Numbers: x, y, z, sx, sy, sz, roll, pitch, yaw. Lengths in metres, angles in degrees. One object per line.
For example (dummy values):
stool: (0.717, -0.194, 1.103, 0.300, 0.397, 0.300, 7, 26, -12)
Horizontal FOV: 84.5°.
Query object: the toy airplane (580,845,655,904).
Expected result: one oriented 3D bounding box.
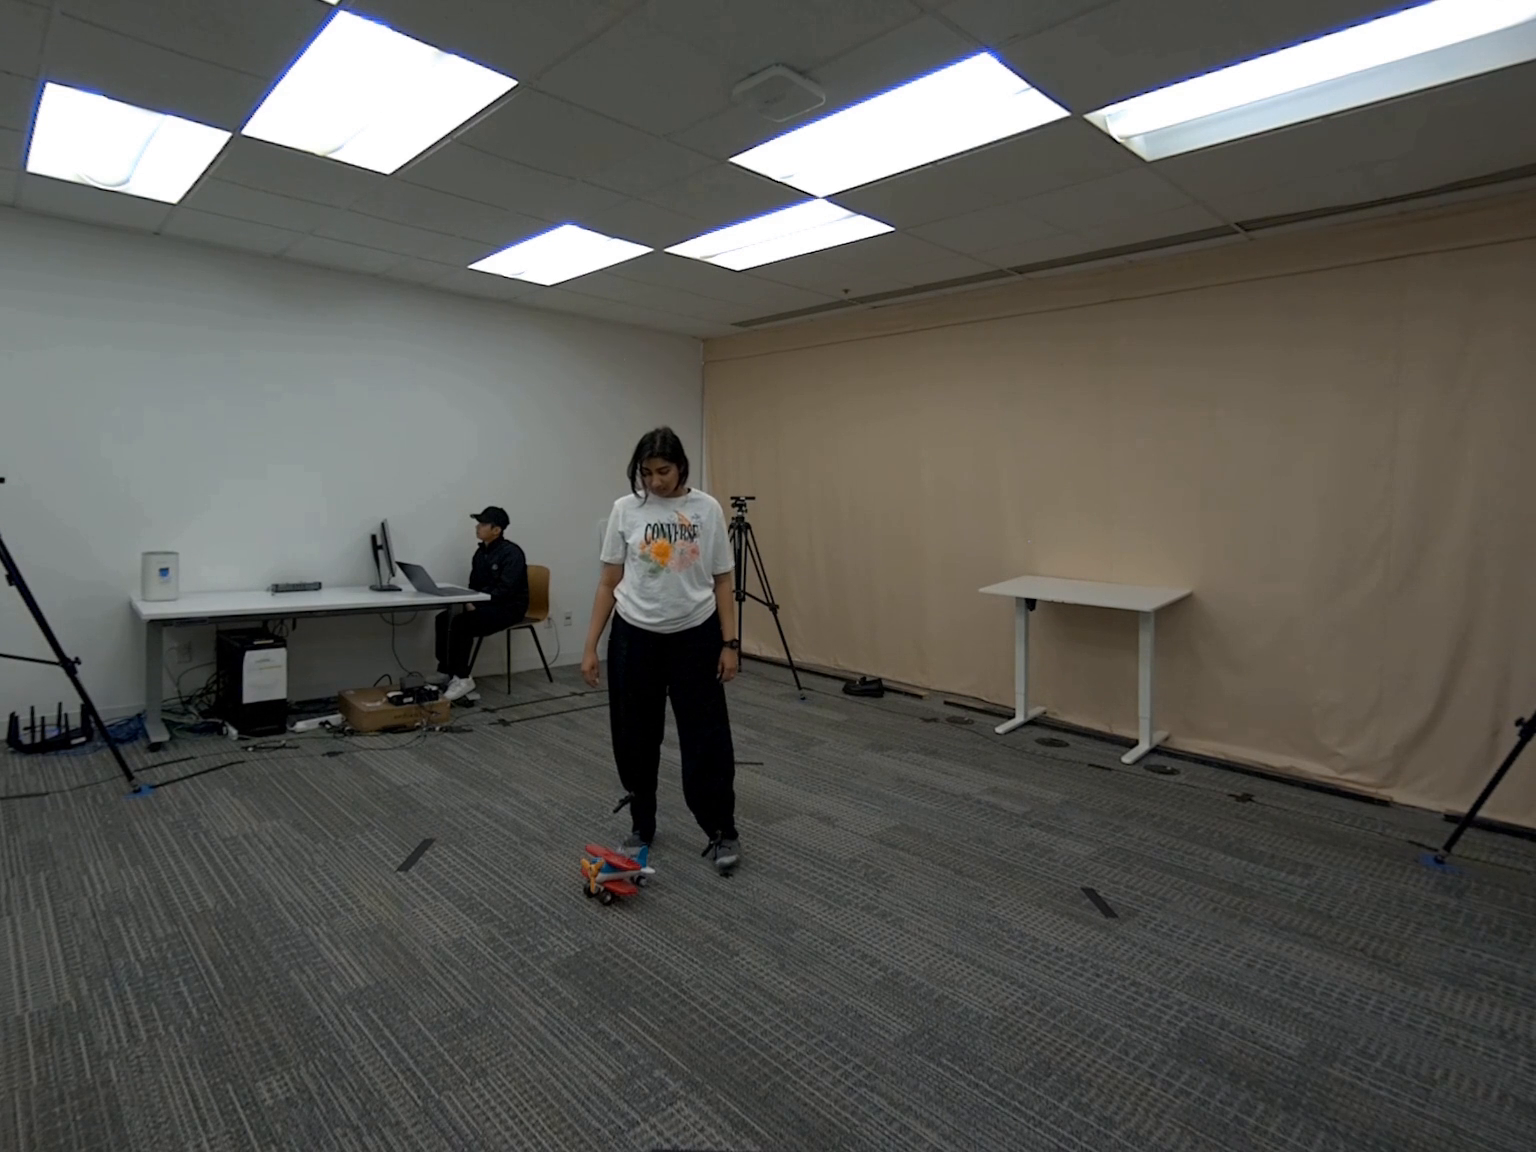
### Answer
toy airplane: (-0.548, 1.034, 2.954, 0.254, 0.156, 0.257, 2, 6, 13)
